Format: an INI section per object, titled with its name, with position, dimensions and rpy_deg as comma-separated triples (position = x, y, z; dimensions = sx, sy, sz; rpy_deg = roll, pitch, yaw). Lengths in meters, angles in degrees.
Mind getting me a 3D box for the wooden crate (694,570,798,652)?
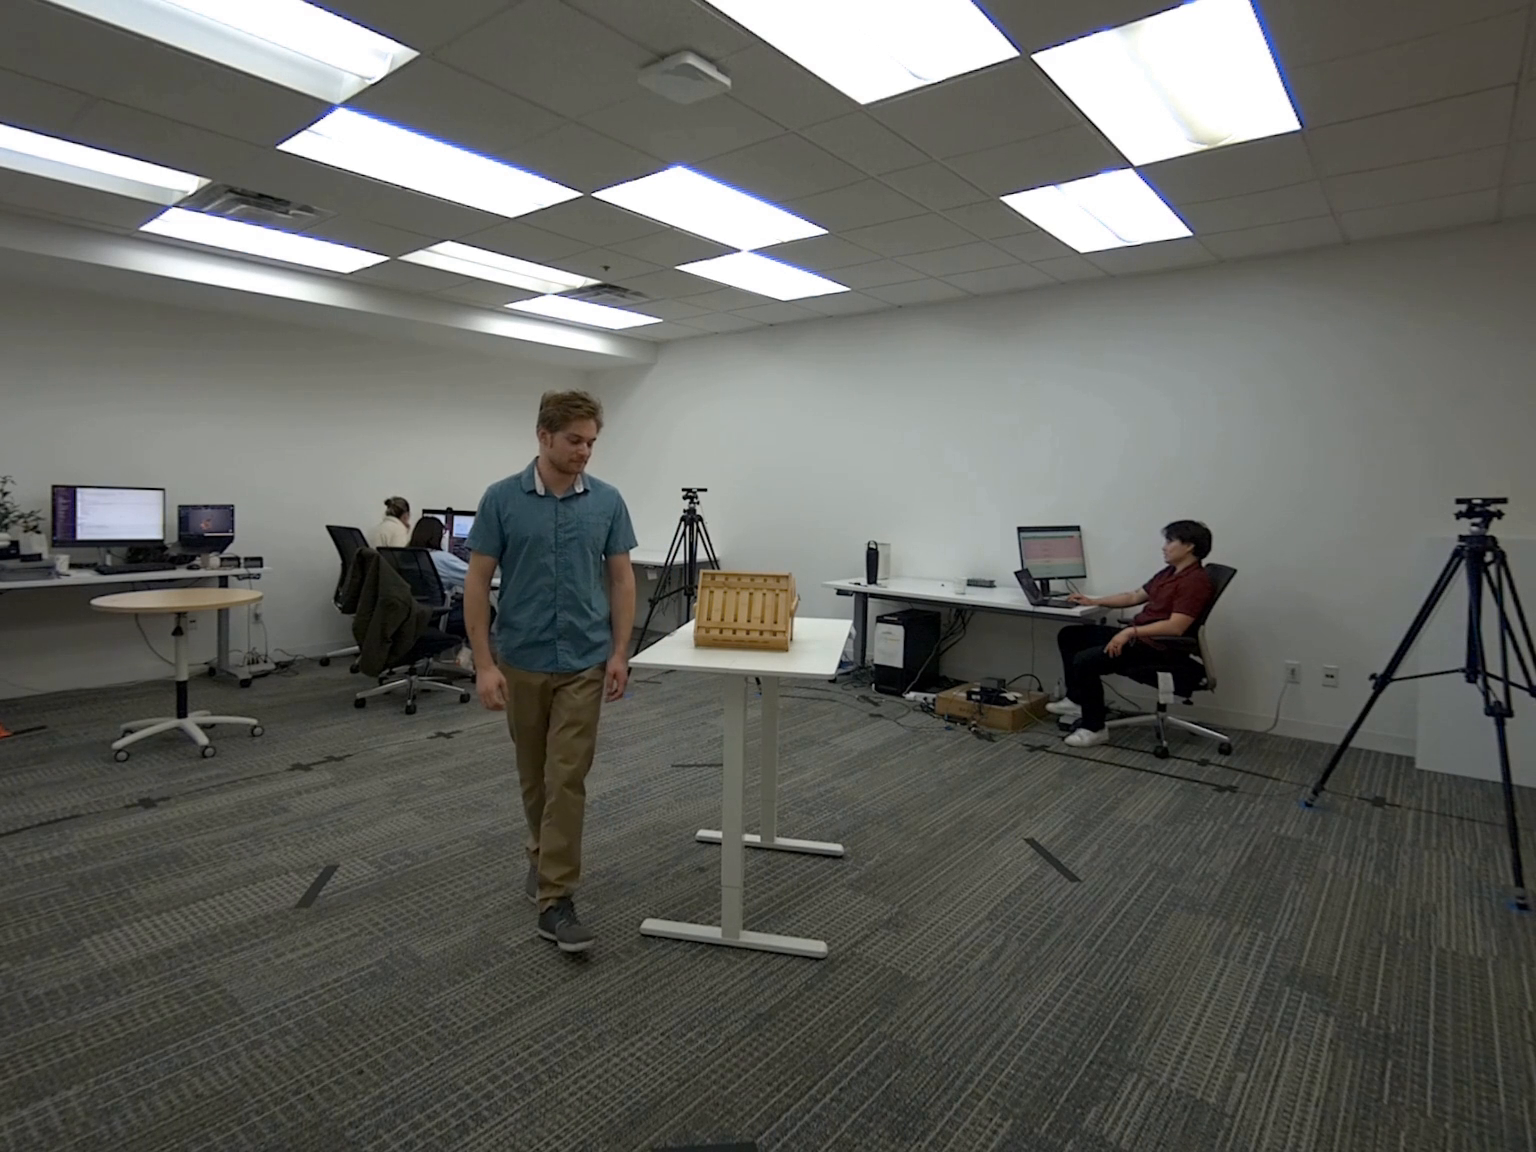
[wooden crate]
position = -0.075, 0.127, 2.845
dimensions = 0.328, 0.307, 0.266
rpy_deg = 2, -22, 8
